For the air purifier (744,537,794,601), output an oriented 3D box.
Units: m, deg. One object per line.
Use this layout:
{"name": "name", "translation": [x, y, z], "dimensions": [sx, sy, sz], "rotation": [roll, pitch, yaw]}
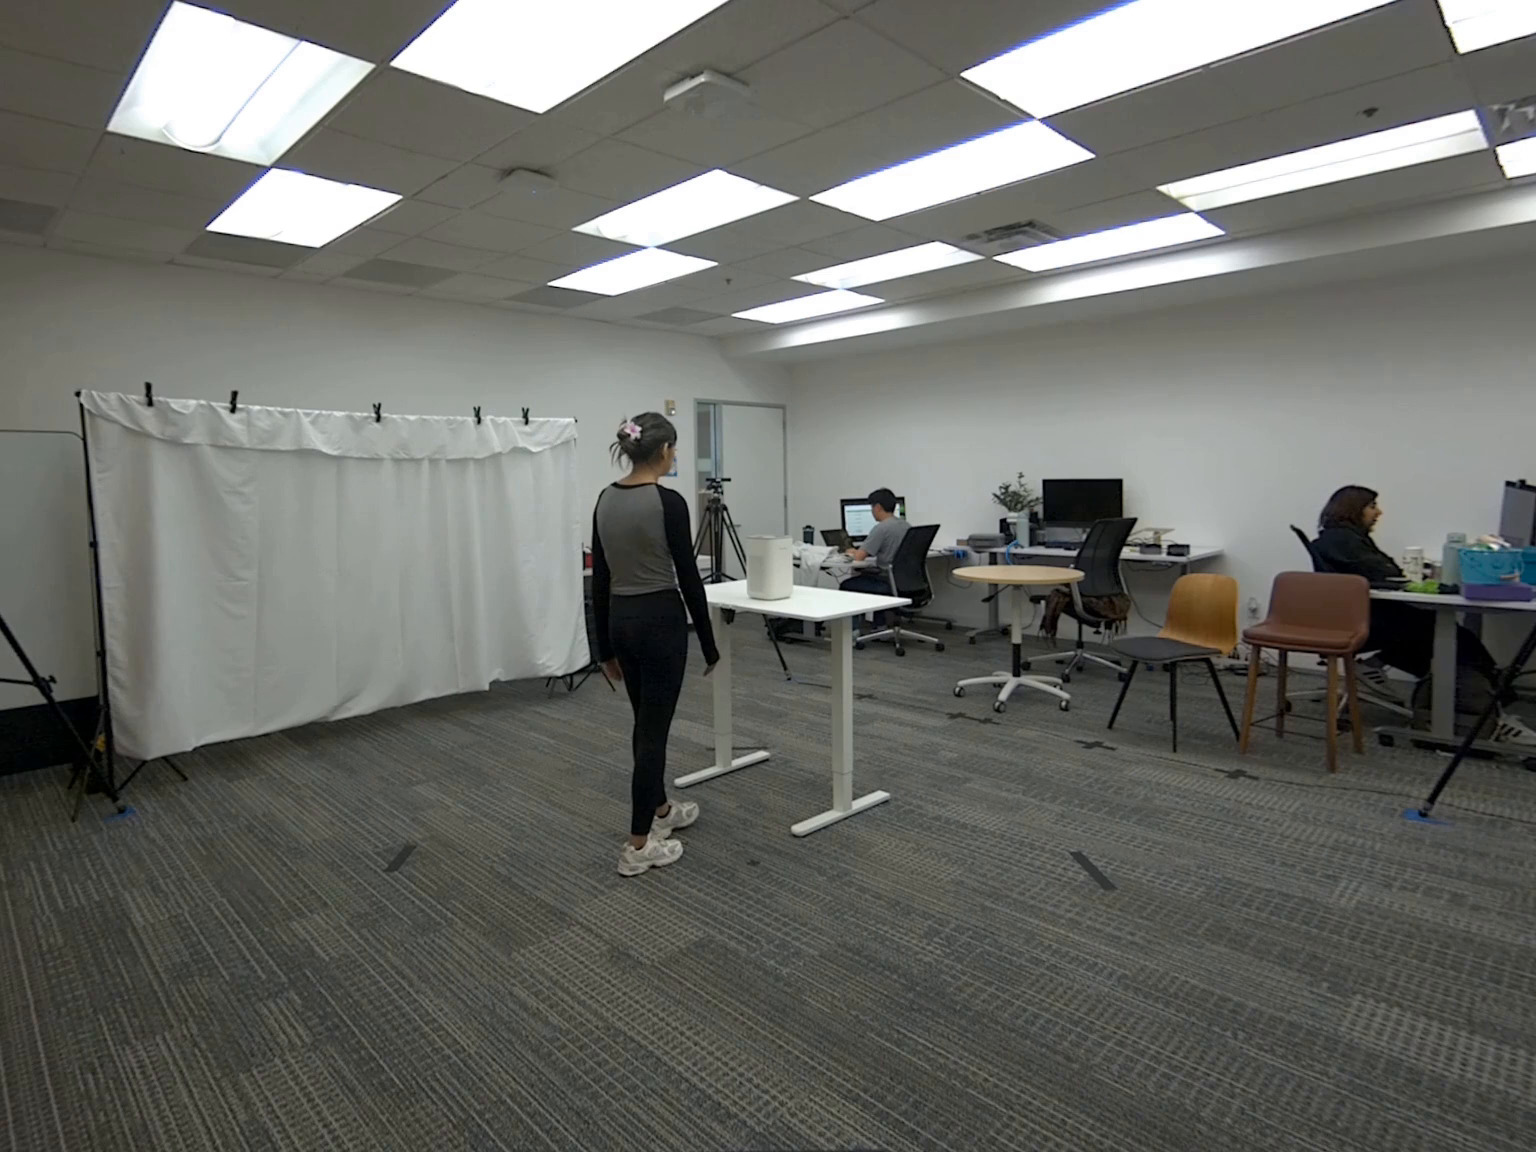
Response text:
{"name": "air purifier", "translation": [0.011, -0.038, 3.682], "dimensions": [0.166, 0.264, 0.177], "rotation": [-5, 6, -44]}
